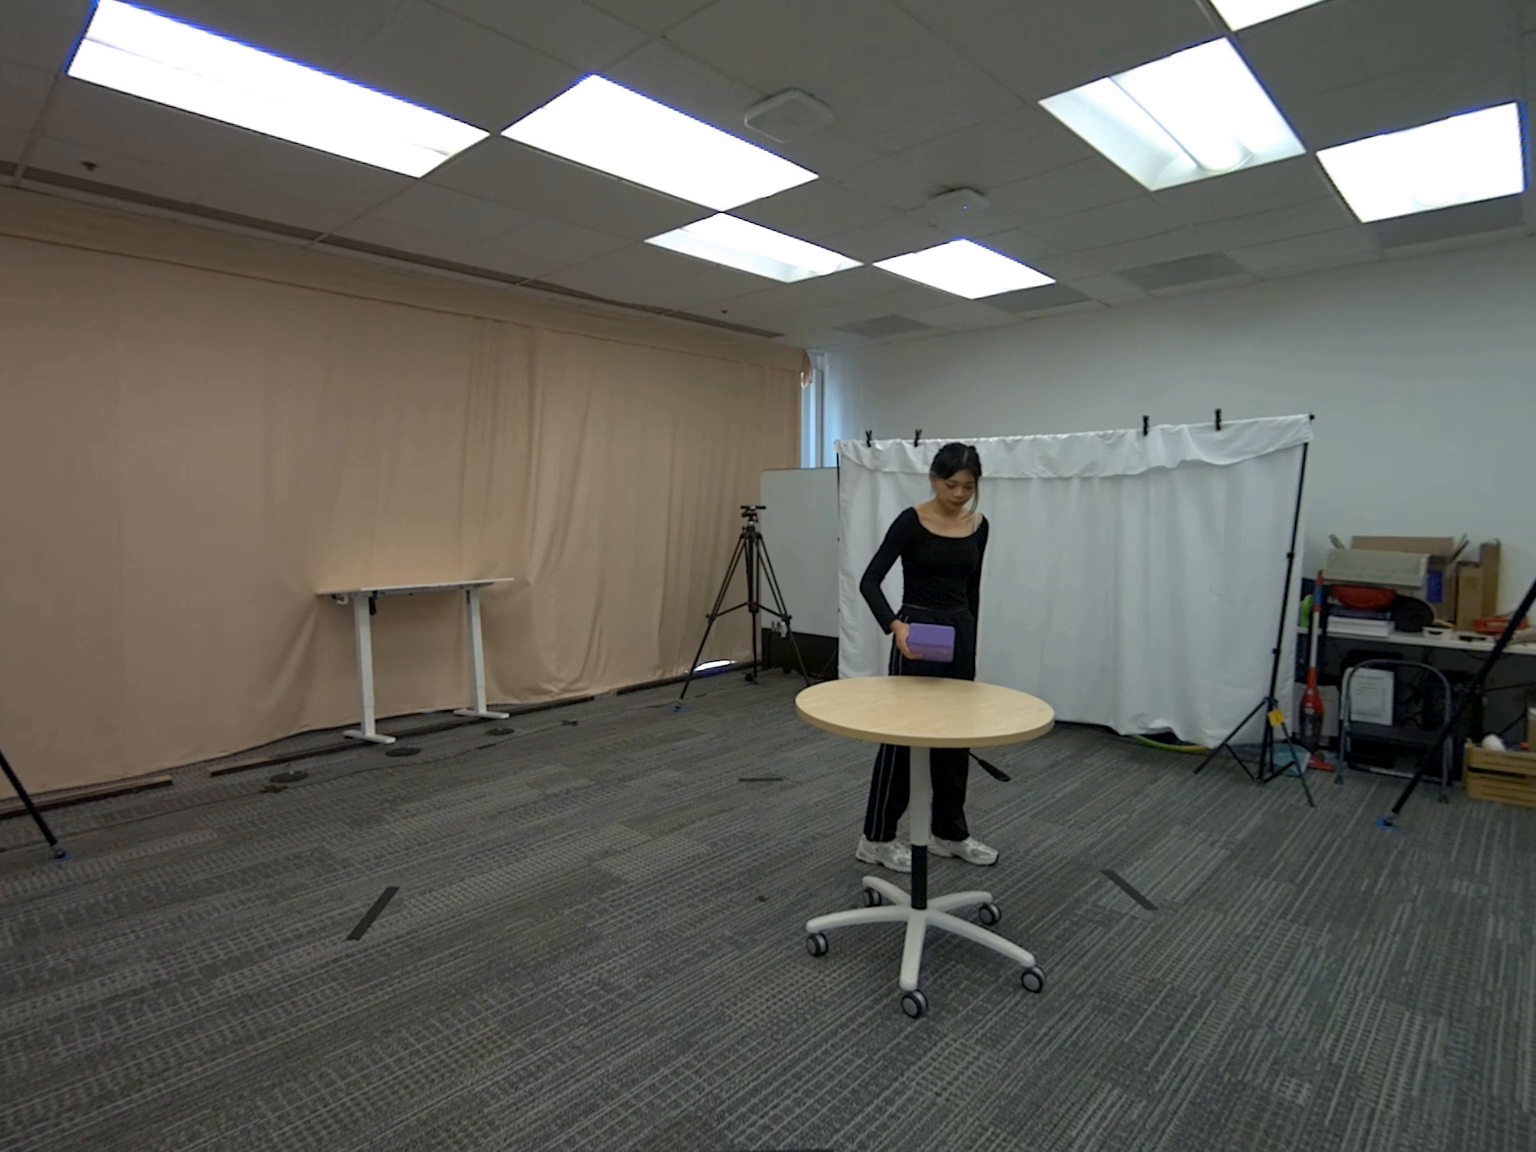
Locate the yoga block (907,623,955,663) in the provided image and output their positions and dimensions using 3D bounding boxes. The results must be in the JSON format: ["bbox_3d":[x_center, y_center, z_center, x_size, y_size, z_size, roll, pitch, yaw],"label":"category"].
[{"bbox_3d":[0.546,0.220,2.891,0.150,0.077,0.226,3,-11,4],"label":"yoga block"}]
